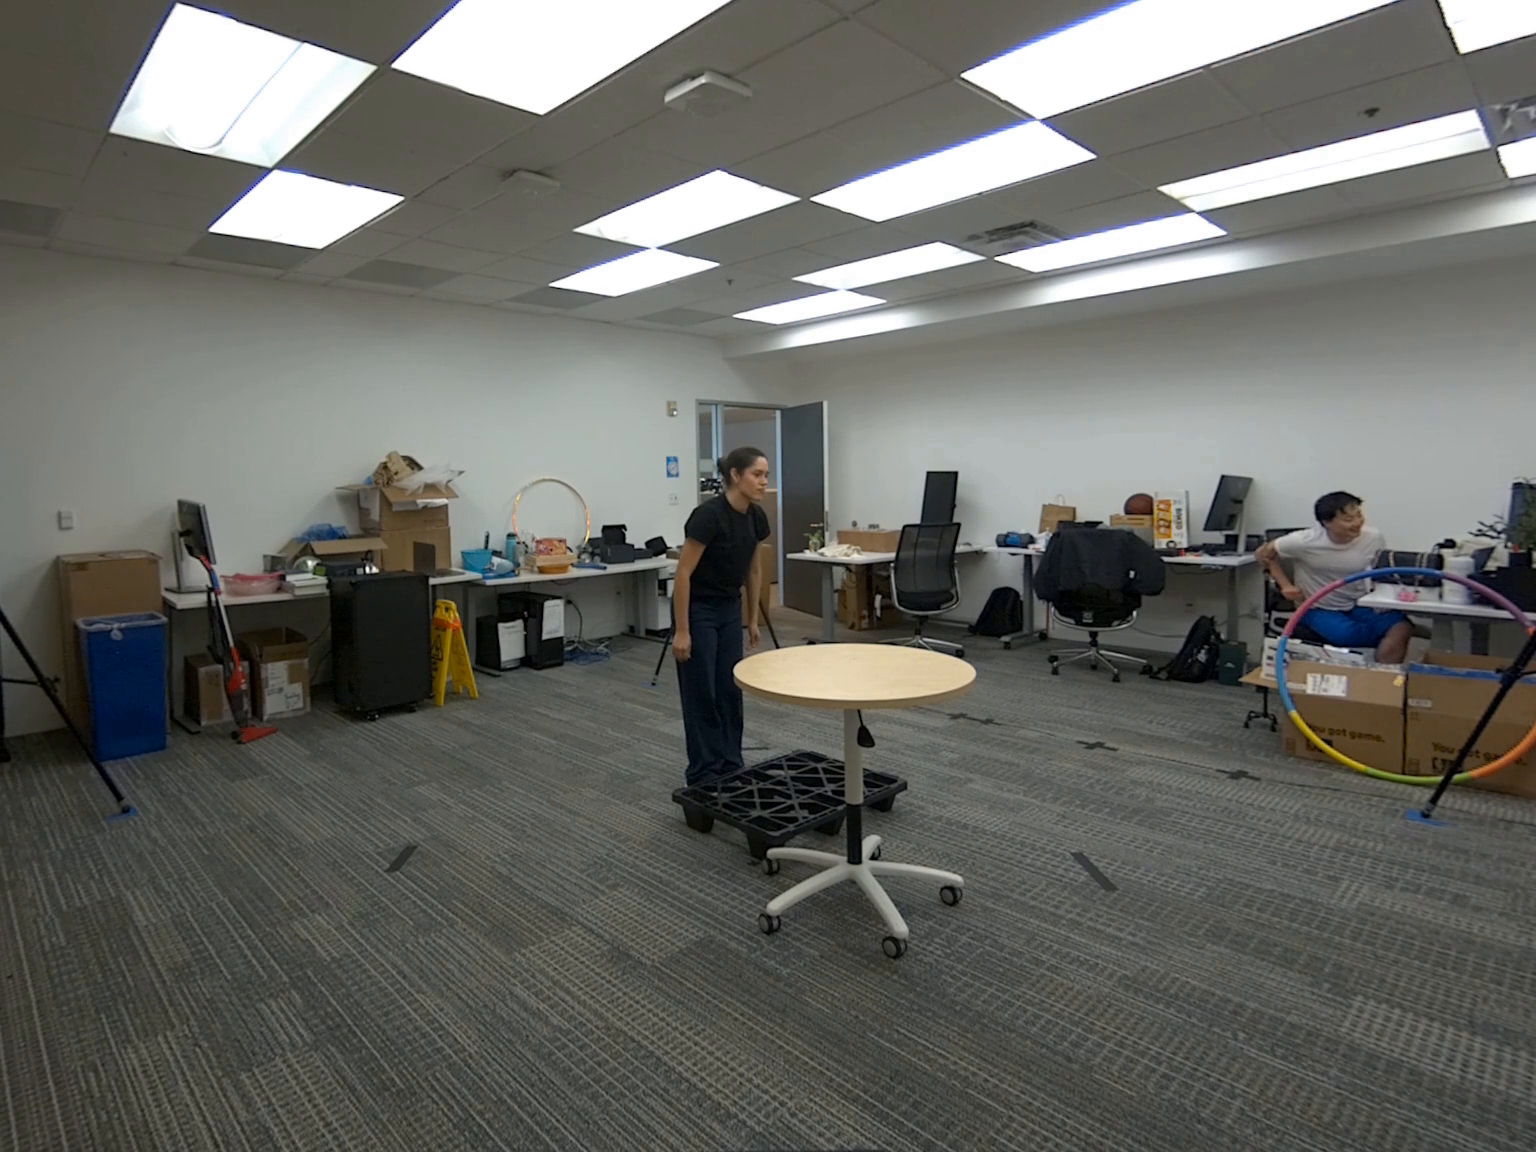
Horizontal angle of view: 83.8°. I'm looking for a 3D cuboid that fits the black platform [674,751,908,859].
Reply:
[{"bbox_3d":[0.090,0.931,3.521,0.784,0.143,0.624,-7,8,-44],"label":"black platform"}]
